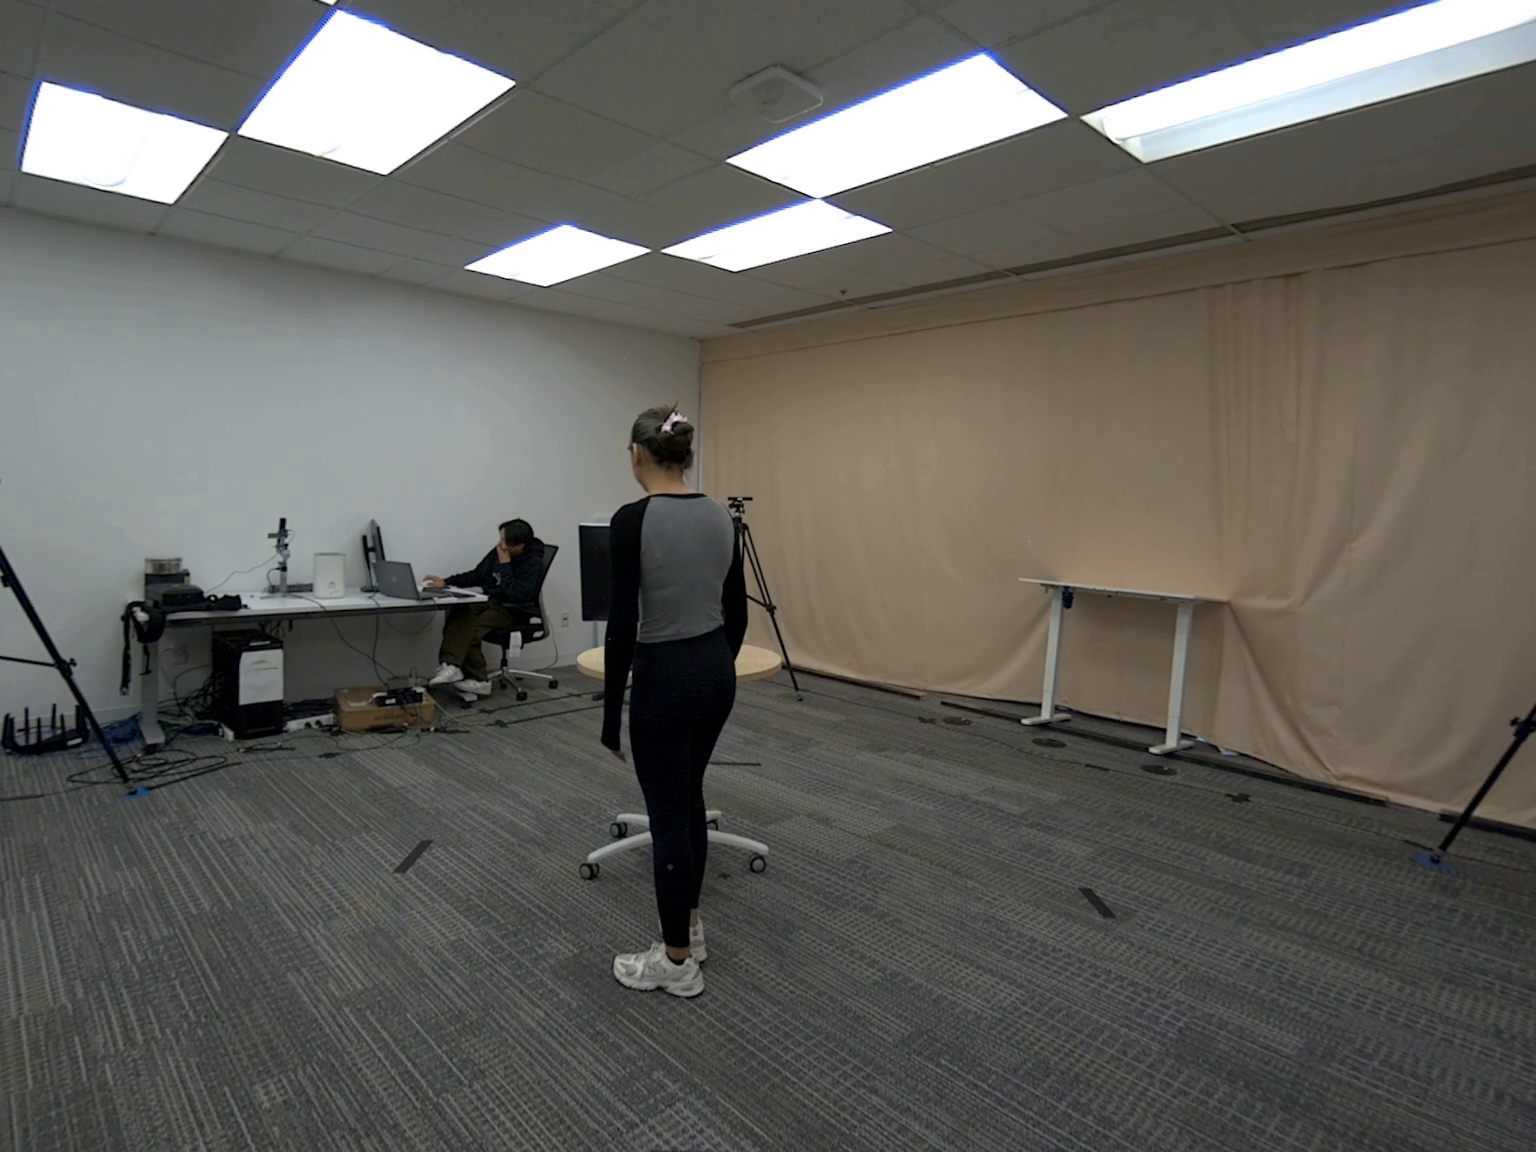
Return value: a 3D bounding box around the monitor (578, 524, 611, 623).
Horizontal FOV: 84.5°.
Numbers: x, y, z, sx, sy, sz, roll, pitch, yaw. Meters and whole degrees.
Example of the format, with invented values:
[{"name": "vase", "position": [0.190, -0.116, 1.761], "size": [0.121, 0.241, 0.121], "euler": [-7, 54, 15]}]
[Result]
[{"name": "monitor", "position": [-0.387, 0.077, 2.979], "size": [0.538, 0.522, 0.187], "euler": [1, 2, -2]}]
